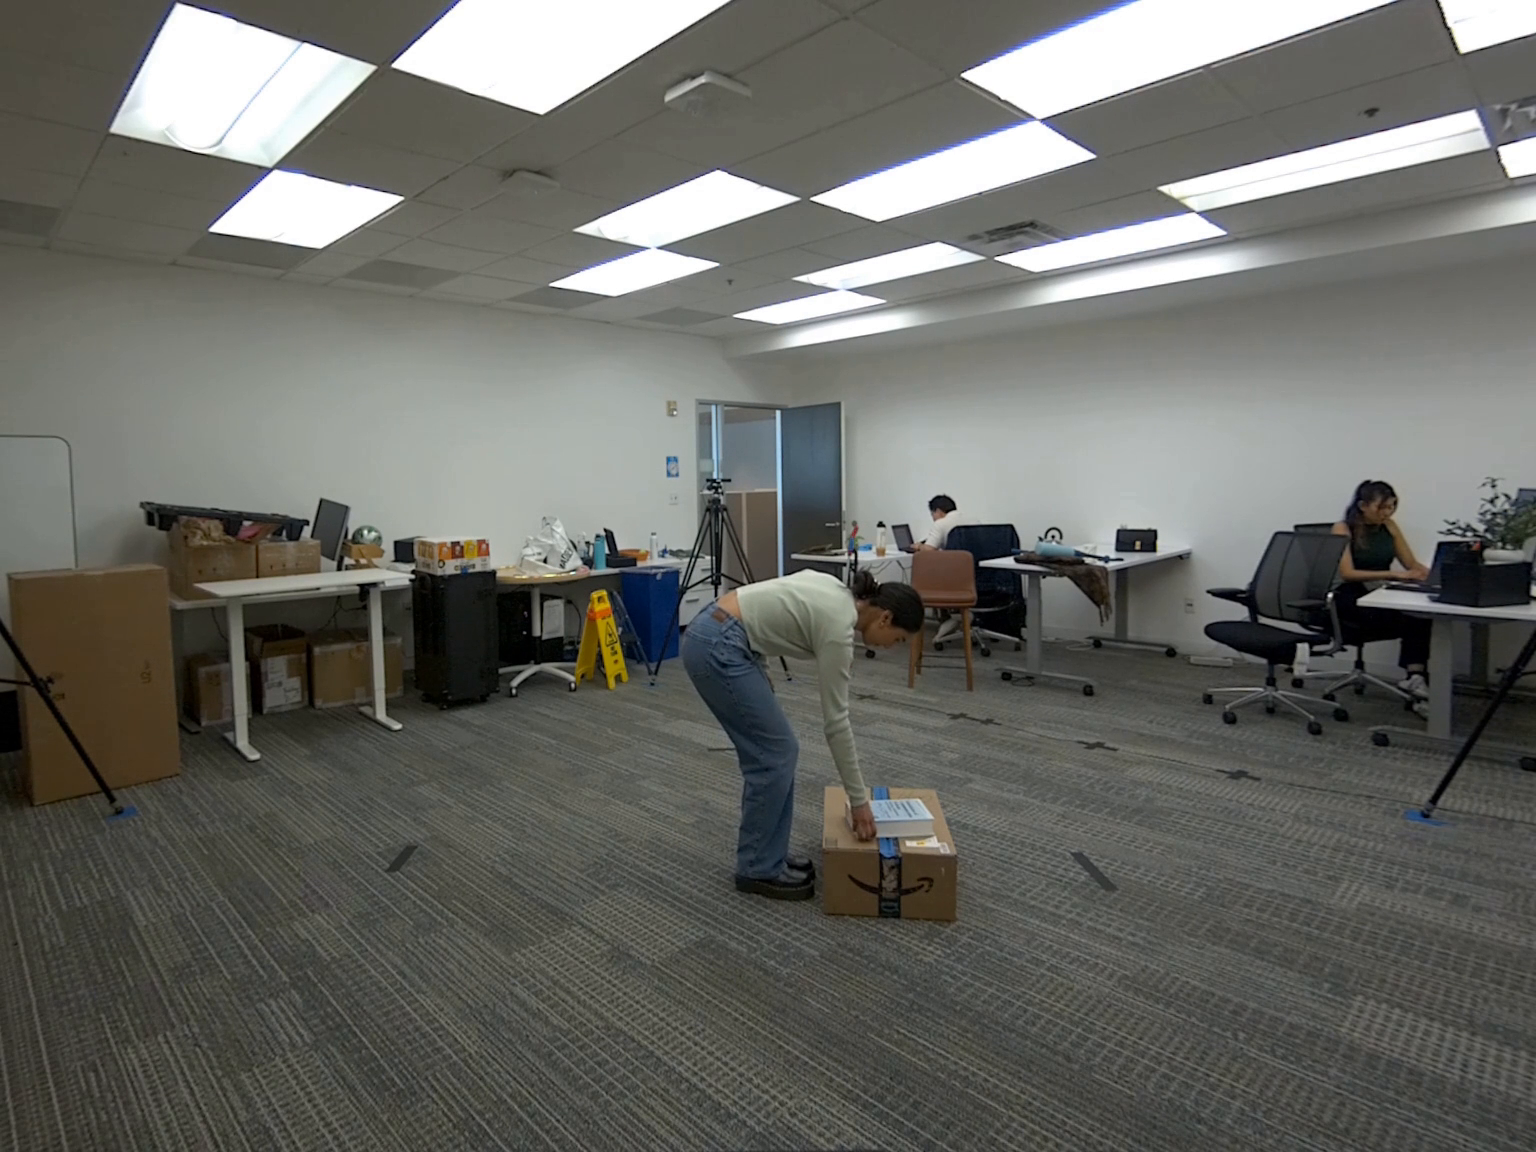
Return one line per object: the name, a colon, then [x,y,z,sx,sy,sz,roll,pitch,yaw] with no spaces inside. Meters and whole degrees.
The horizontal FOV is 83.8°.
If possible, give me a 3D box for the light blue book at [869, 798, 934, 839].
light blue book: [0.407,0.815,2.906,0.260,0.059,0.192,-2,6,-3]
